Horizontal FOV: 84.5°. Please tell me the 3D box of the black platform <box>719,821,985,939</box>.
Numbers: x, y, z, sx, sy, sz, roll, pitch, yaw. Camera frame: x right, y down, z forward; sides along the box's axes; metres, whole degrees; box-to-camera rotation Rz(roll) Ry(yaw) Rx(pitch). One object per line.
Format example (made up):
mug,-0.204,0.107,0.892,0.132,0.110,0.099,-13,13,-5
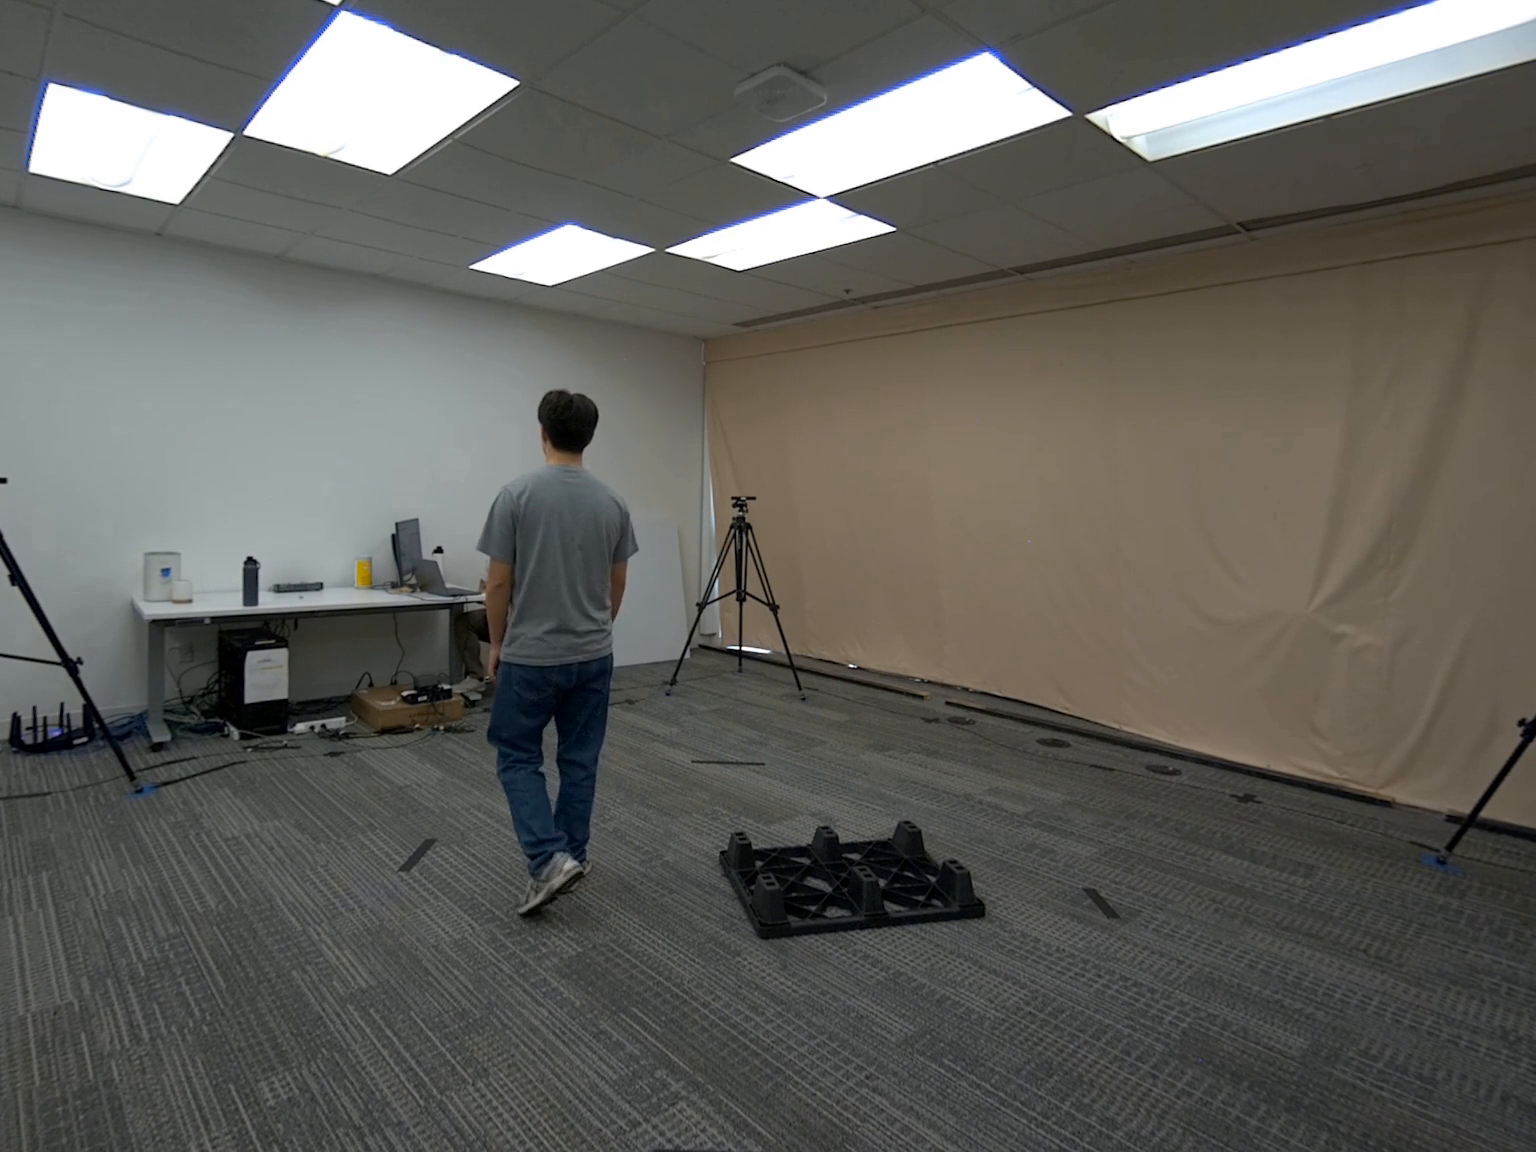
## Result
black platform,0.270,1.053,3.036,0.796,0.143,0.614,0,6,-15
